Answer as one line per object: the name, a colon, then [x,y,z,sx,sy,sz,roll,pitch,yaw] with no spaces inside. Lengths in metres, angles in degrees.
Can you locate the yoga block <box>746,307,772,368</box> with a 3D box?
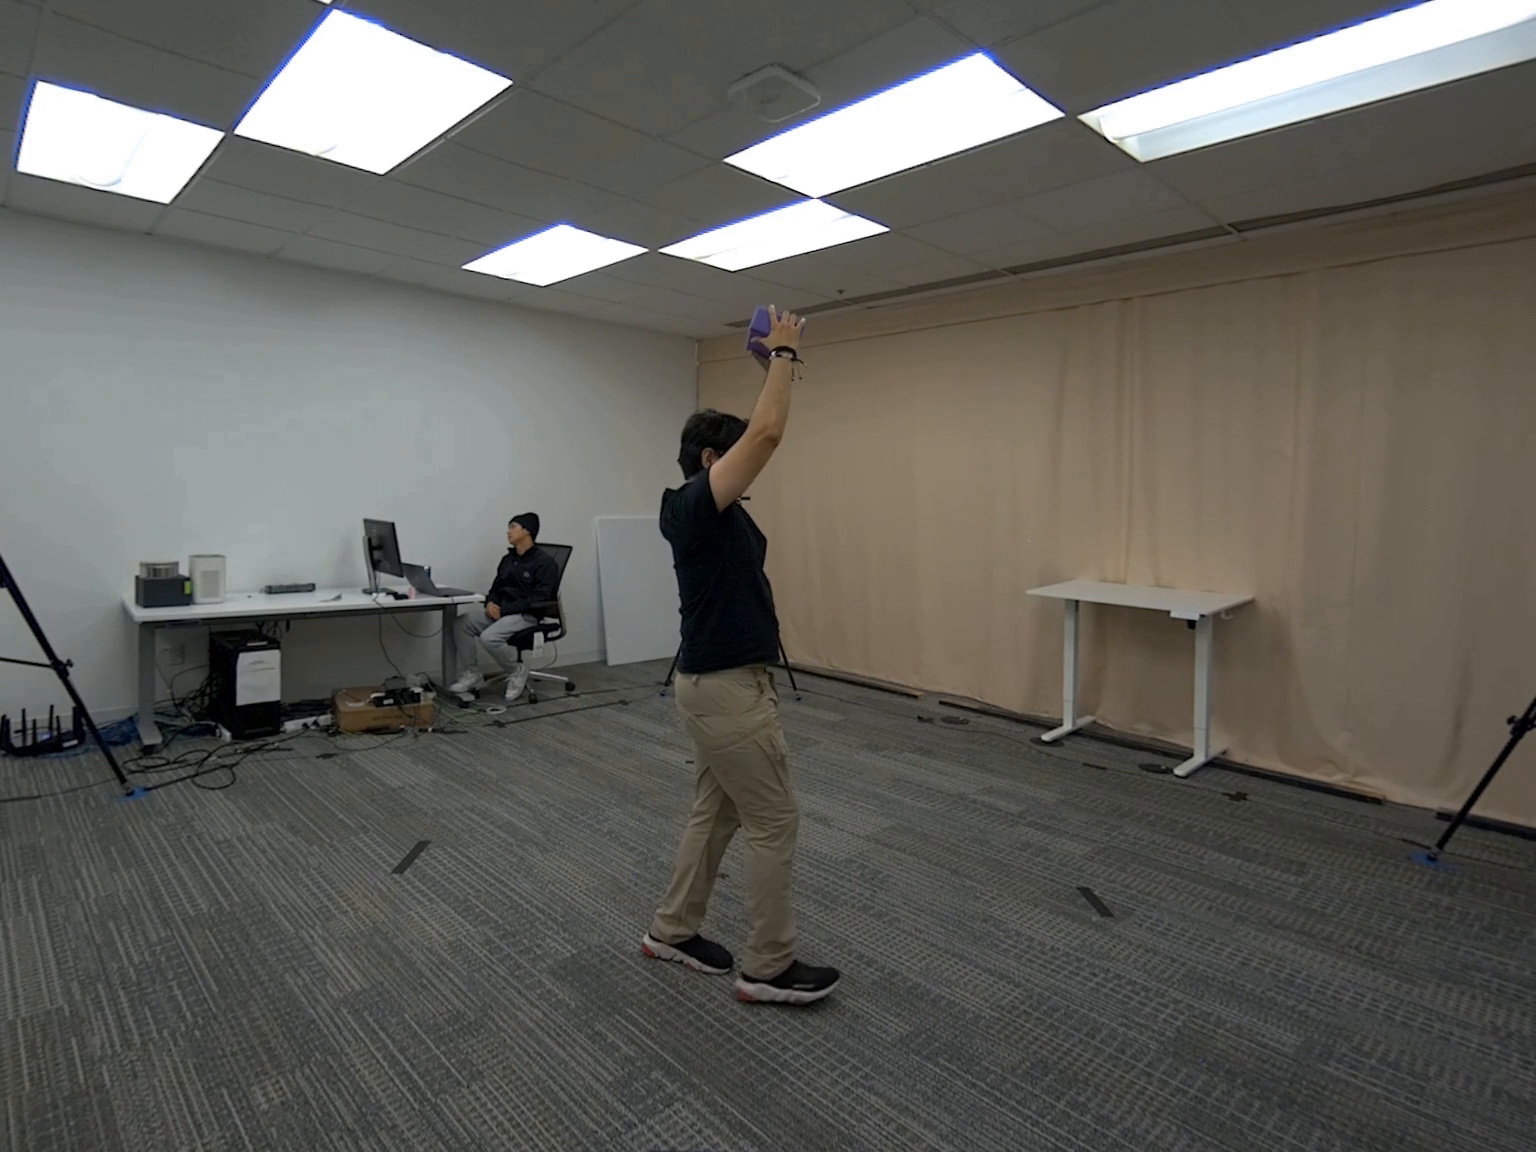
yoga block: [0.015,-0.702,2.460,0.149,0.076,0.229,20,-1,-2]
